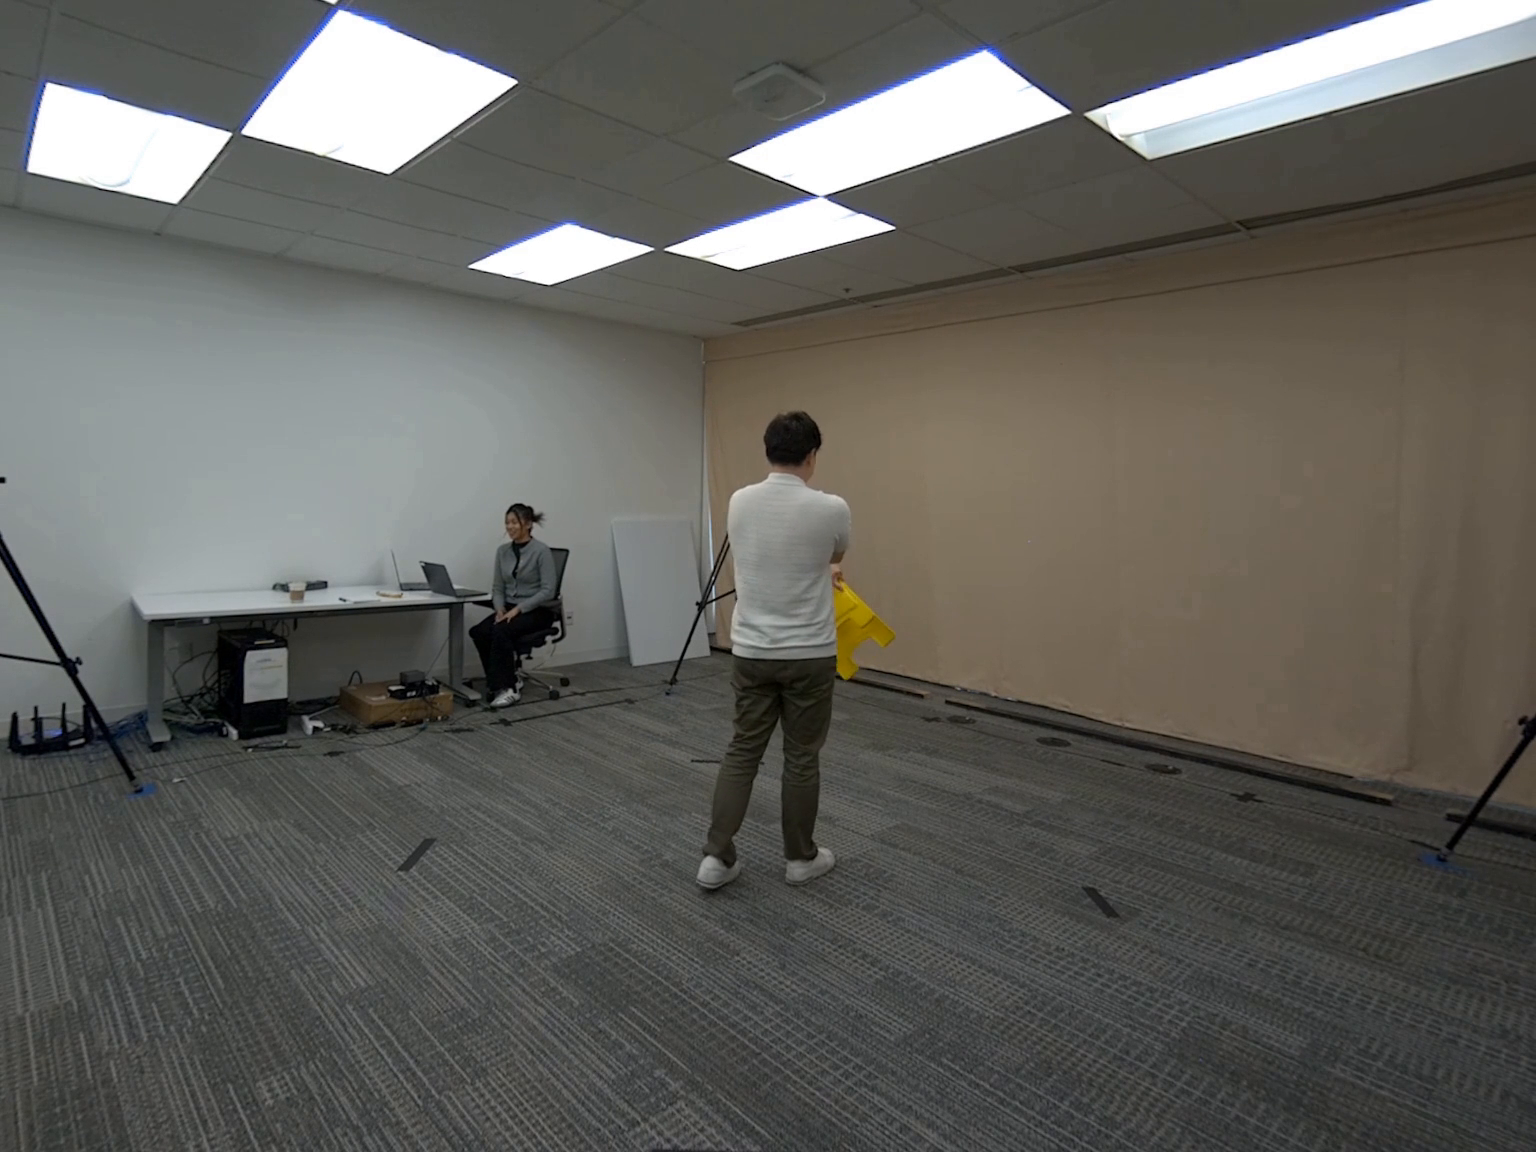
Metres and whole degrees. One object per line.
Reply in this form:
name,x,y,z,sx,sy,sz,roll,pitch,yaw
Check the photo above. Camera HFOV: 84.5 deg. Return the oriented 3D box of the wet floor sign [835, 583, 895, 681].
wet floor sign,0.181,0.073,3.472,0.665,0.282,0.281,50,8,31
